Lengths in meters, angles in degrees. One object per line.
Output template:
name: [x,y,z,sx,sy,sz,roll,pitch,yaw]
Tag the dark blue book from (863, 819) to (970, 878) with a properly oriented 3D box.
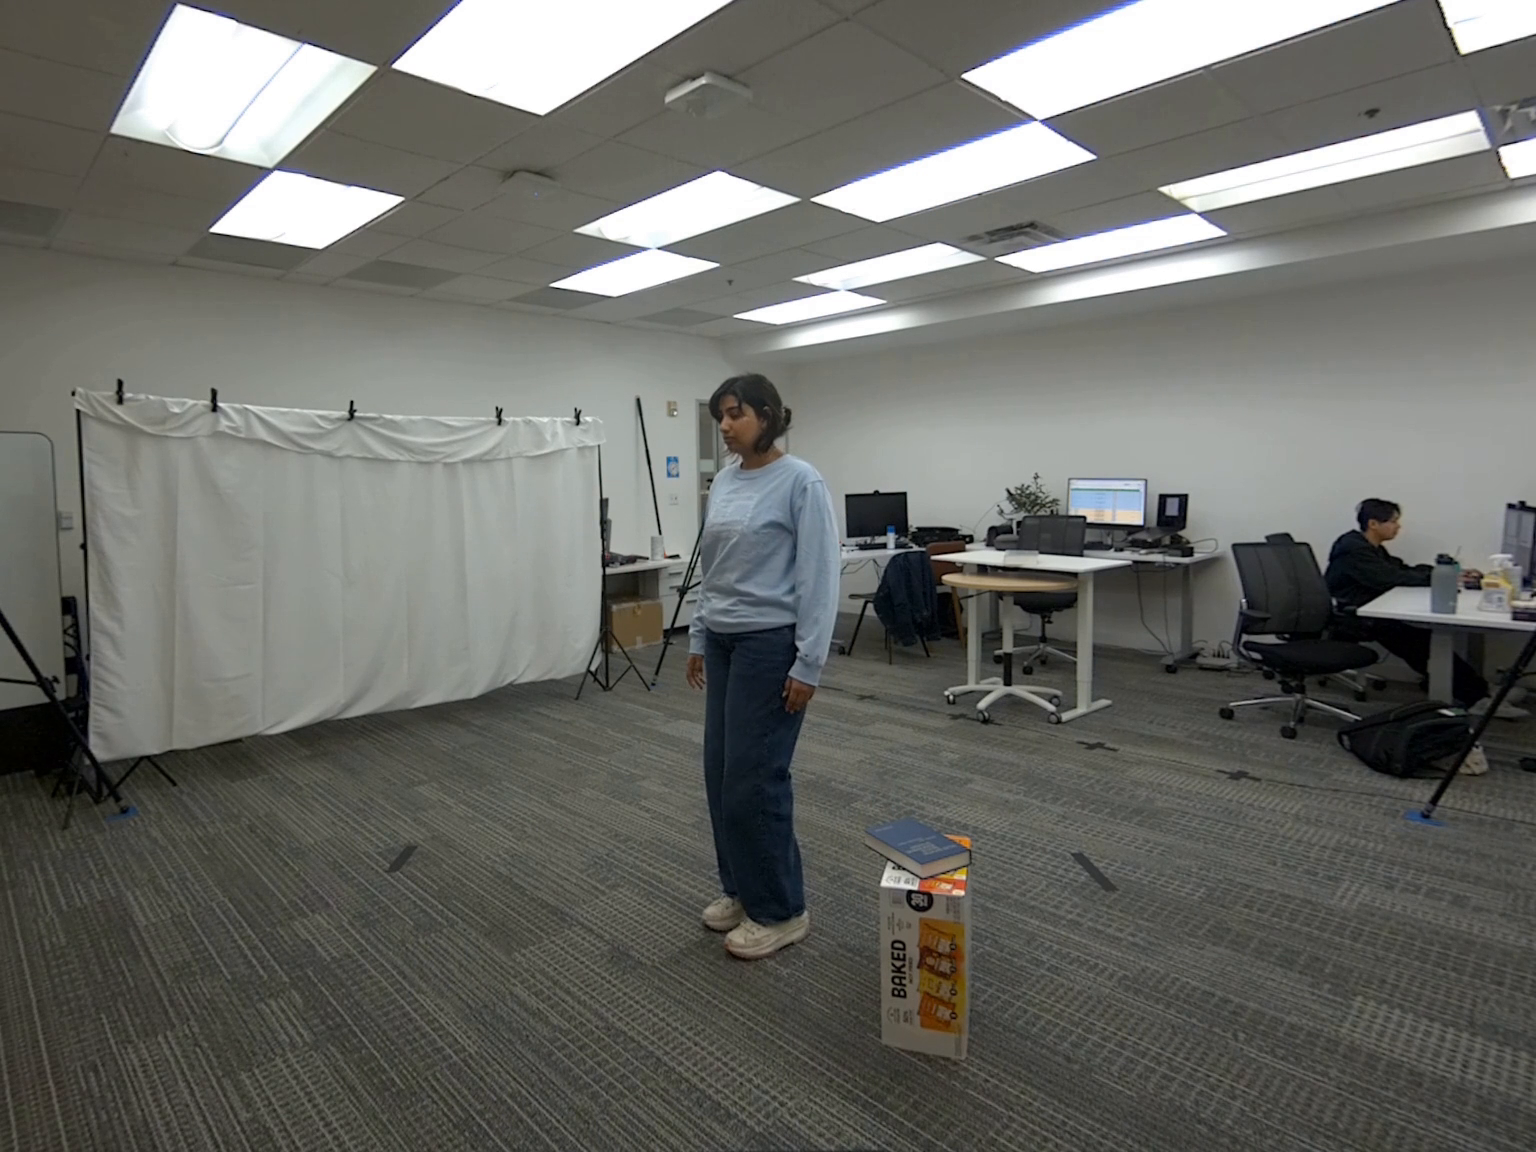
dark blue book: [0.399,0.716,2.232,0.160,0.045,0.251,-6,7,-28]
